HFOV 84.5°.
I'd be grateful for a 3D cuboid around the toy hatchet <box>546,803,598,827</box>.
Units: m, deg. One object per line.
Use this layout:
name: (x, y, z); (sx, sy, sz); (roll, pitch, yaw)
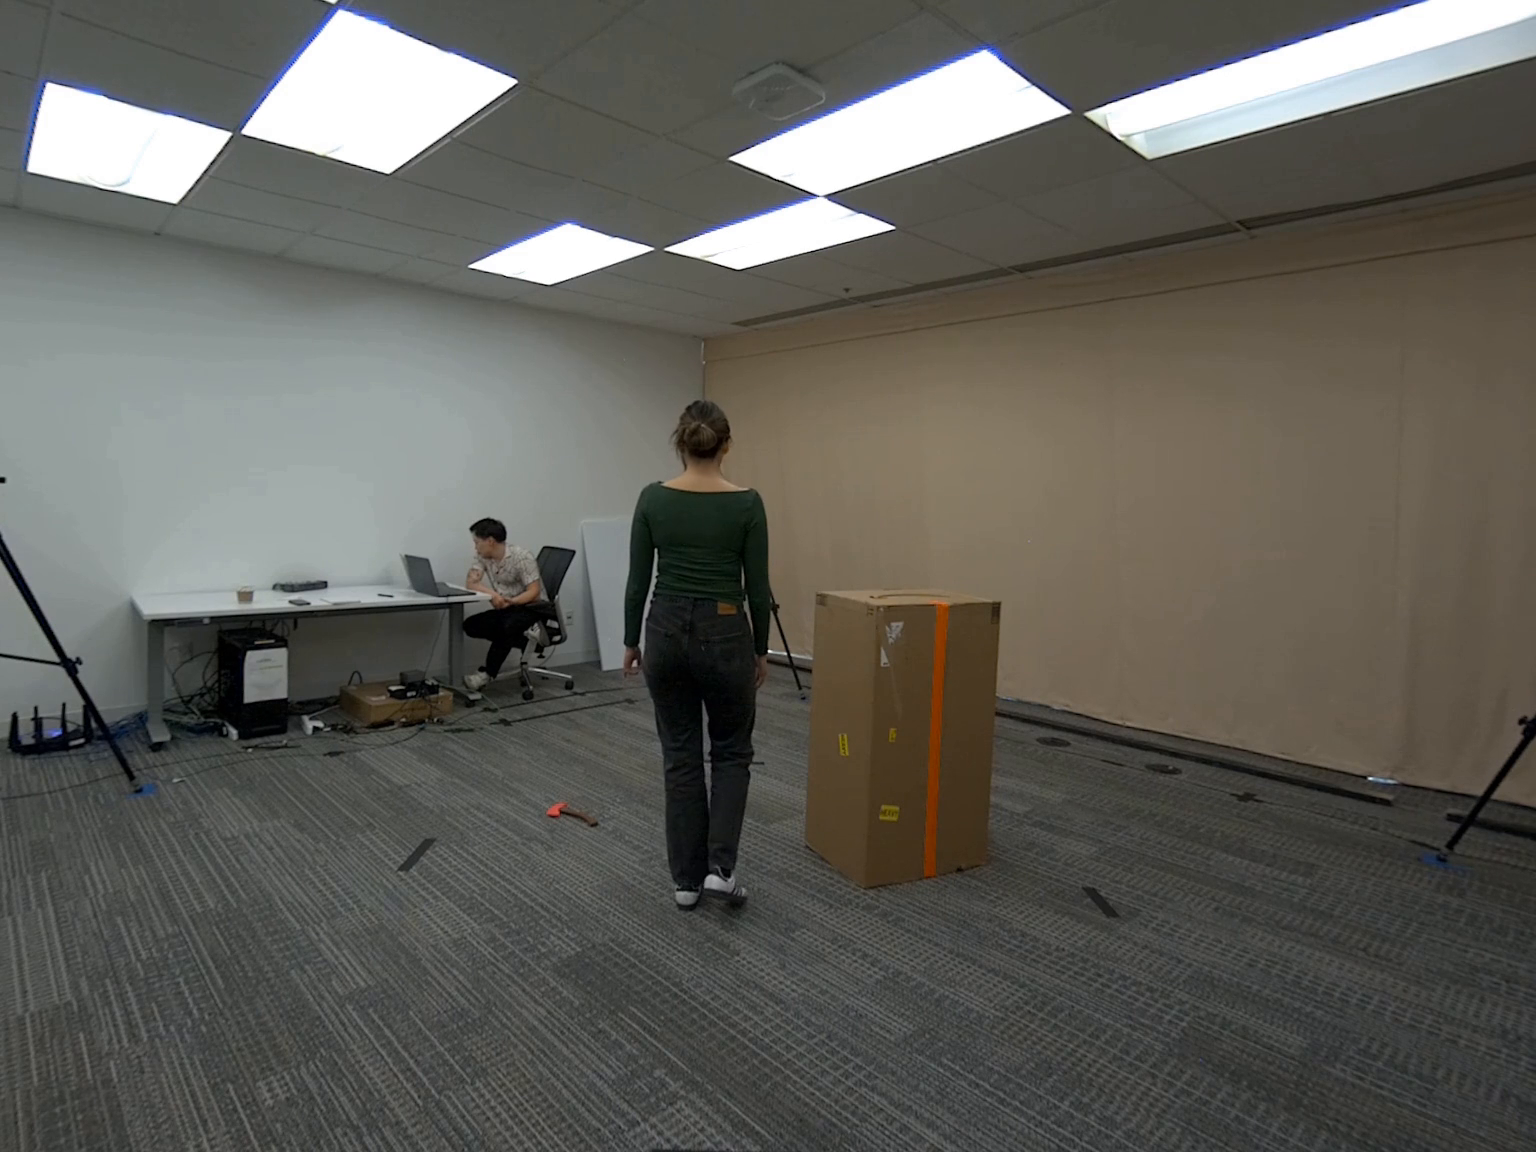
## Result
toy hatchet: (-0.849, 1.023, 3.597); (0.128, 0.029, 0.277); (-3, 8, -42)
